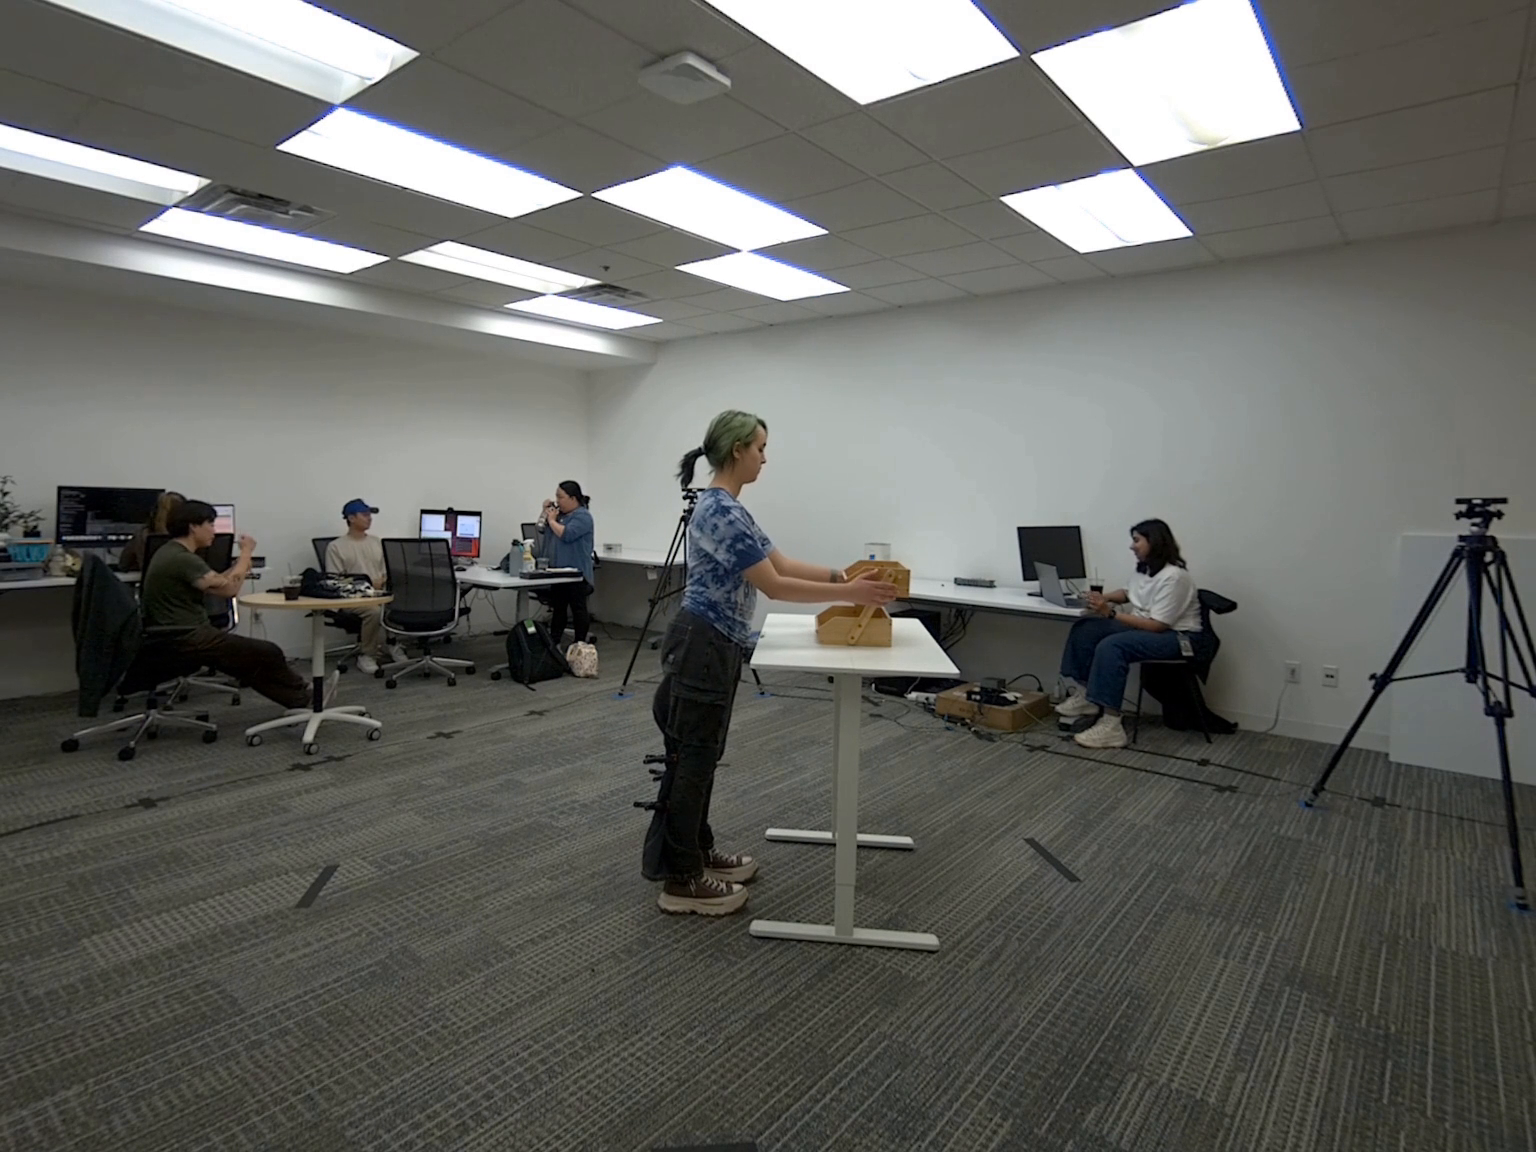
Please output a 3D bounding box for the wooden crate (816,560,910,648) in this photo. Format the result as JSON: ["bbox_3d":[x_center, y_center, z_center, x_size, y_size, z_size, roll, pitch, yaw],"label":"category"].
[{"bbox_3d":[0.305,0.085,2.942,0.304,0.272,0.324,2,5,4],"label":"wooden crate"}]
